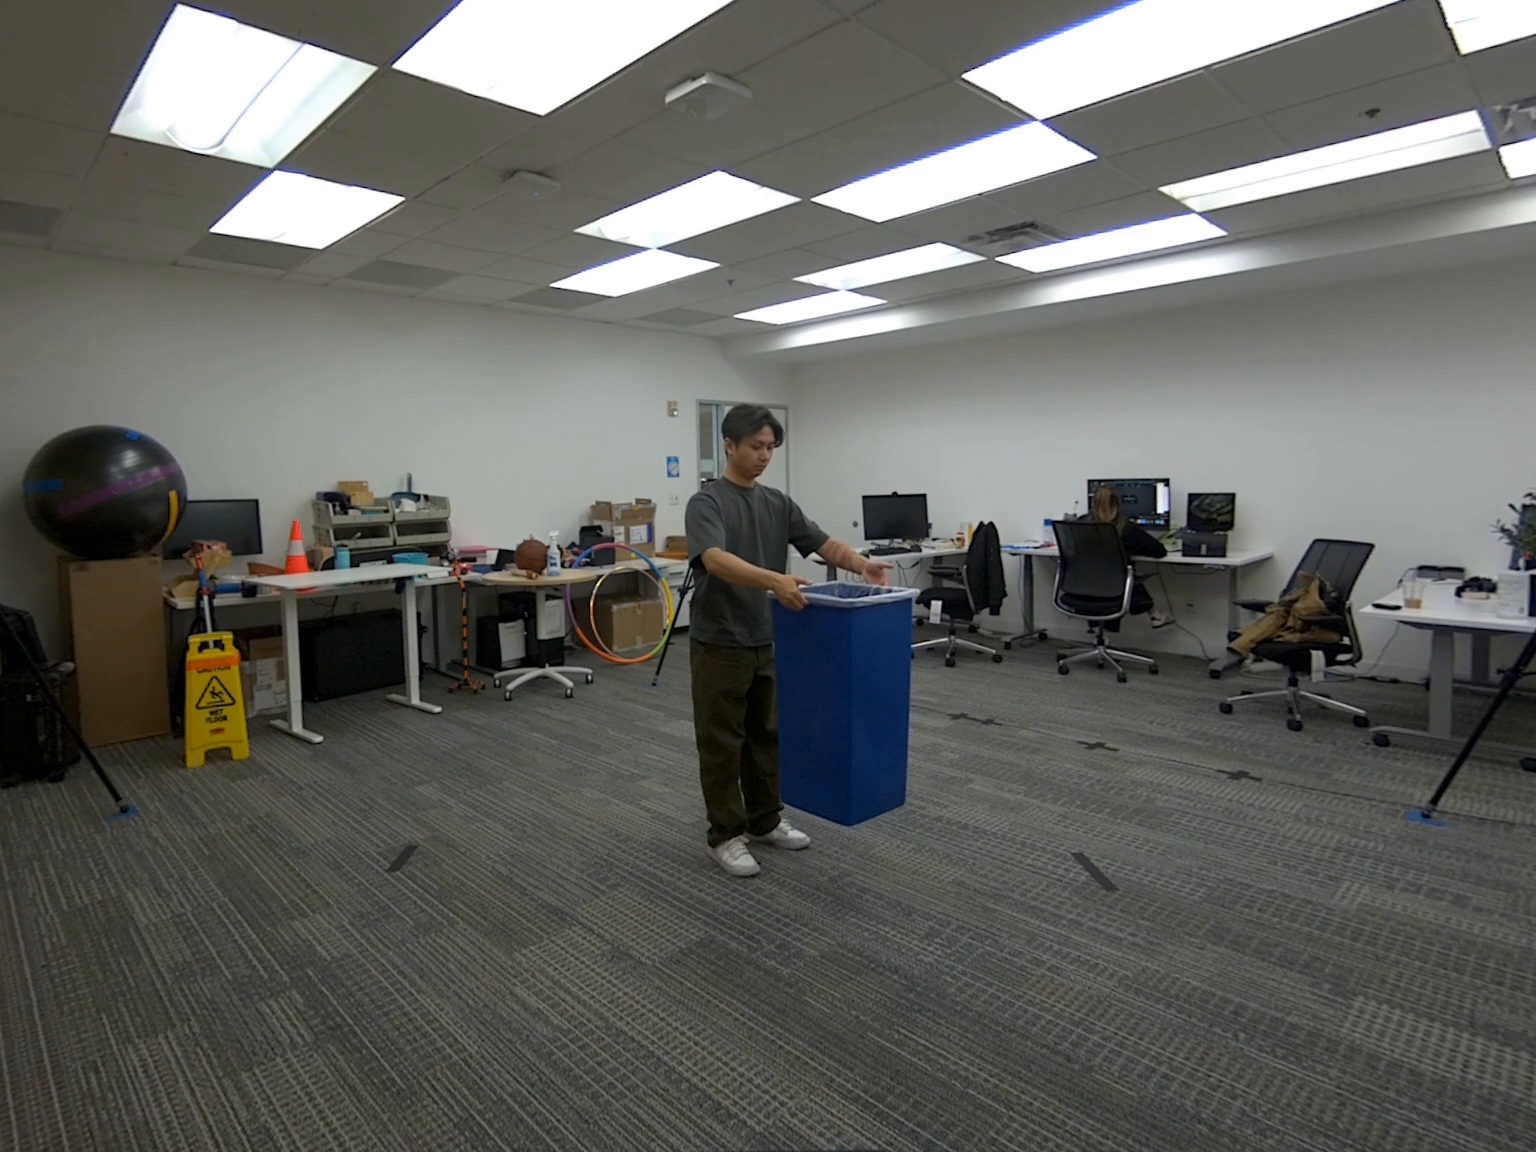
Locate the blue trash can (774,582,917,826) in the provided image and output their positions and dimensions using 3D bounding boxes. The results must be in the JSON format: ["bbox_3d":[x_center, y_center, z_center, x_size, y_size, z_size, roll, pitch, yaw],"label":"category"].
[{"bbox_3d":[0.262,0.404,2.818,0.368,0.712,0.385,-4,4,-45],"label":"blue trash can"}]
